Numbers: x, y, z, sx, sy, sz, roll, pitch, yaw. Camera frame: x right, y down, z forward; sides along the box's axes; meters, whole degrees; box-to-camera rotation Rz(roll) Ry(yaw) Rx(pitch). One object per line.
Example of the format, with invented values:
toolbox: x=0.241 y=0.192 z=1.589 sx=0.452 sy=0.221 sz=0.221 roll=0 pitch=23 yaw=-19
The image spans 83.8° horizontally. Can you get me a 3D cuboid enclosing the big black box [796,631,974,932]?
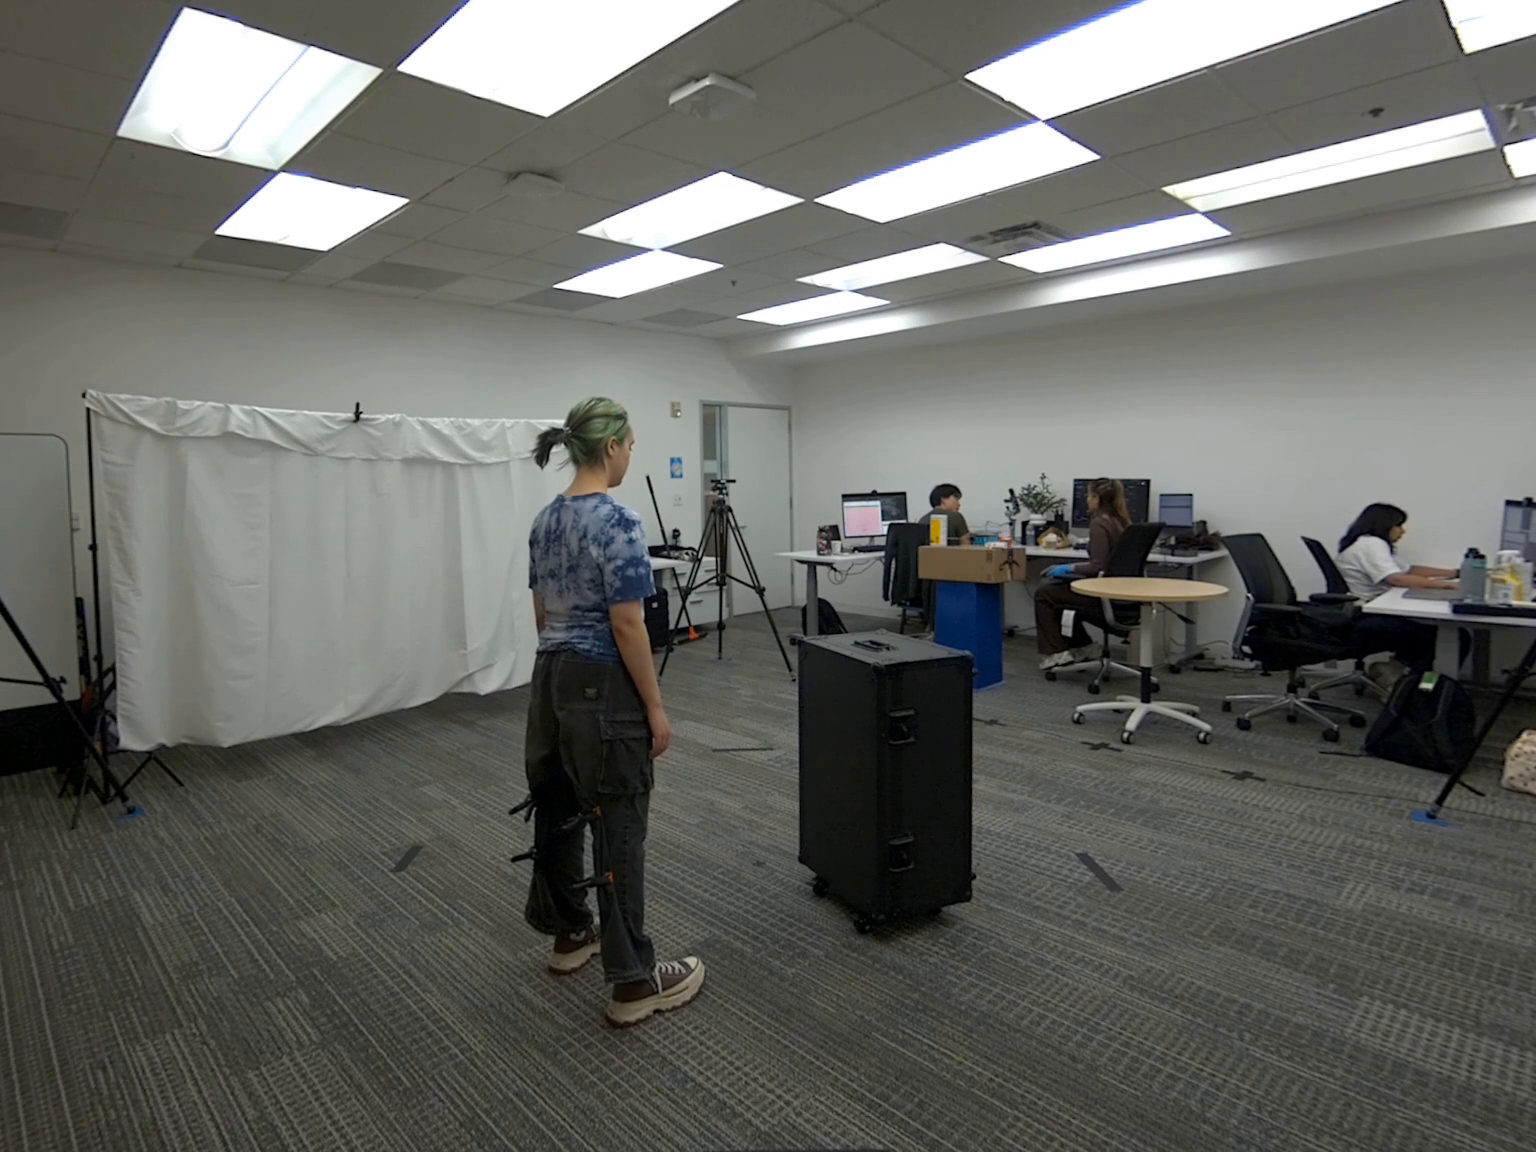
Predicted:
big black box: x=0.378 y=0.649 z=2.804 sx=0.387 sy=0.859 sz=0.534 roll=-1 pitch=4 yaw=-26
